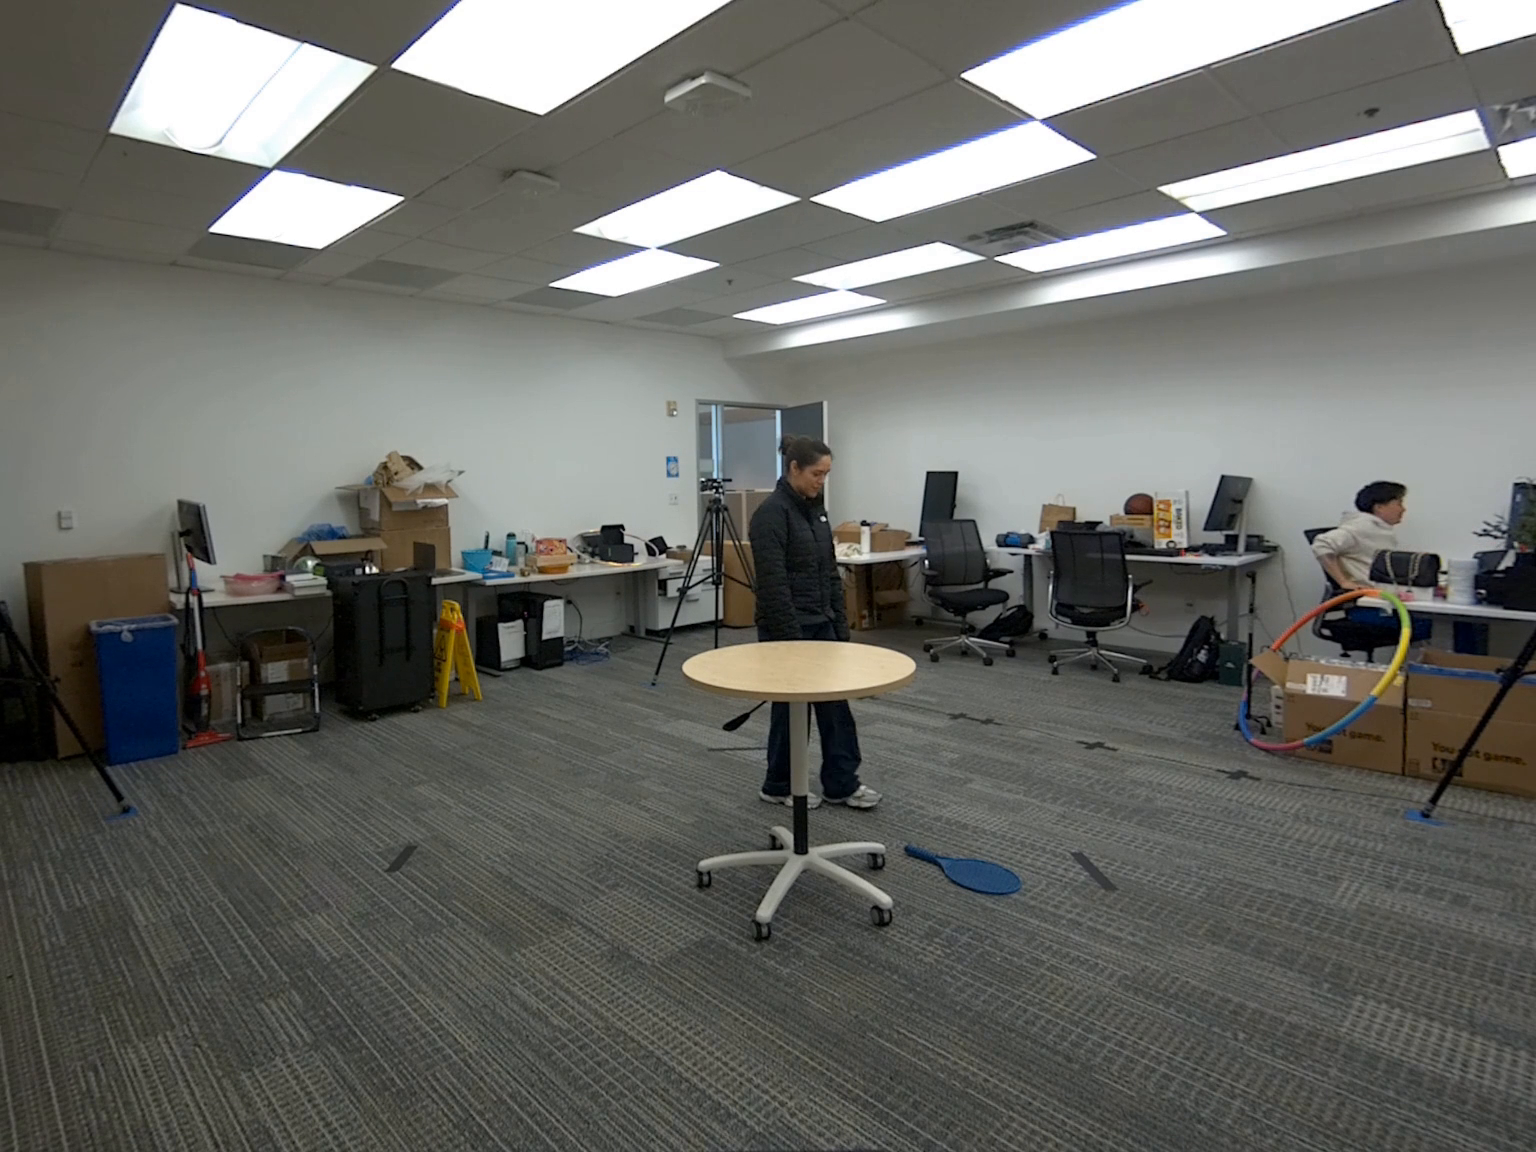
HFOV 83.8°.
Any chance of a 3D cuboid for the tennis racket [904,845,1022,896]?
[{"bbox_3d":[0.674,1.026,3.032,0.447,0.031,0.208,7,10,44],"label":"tennis racket"}]
